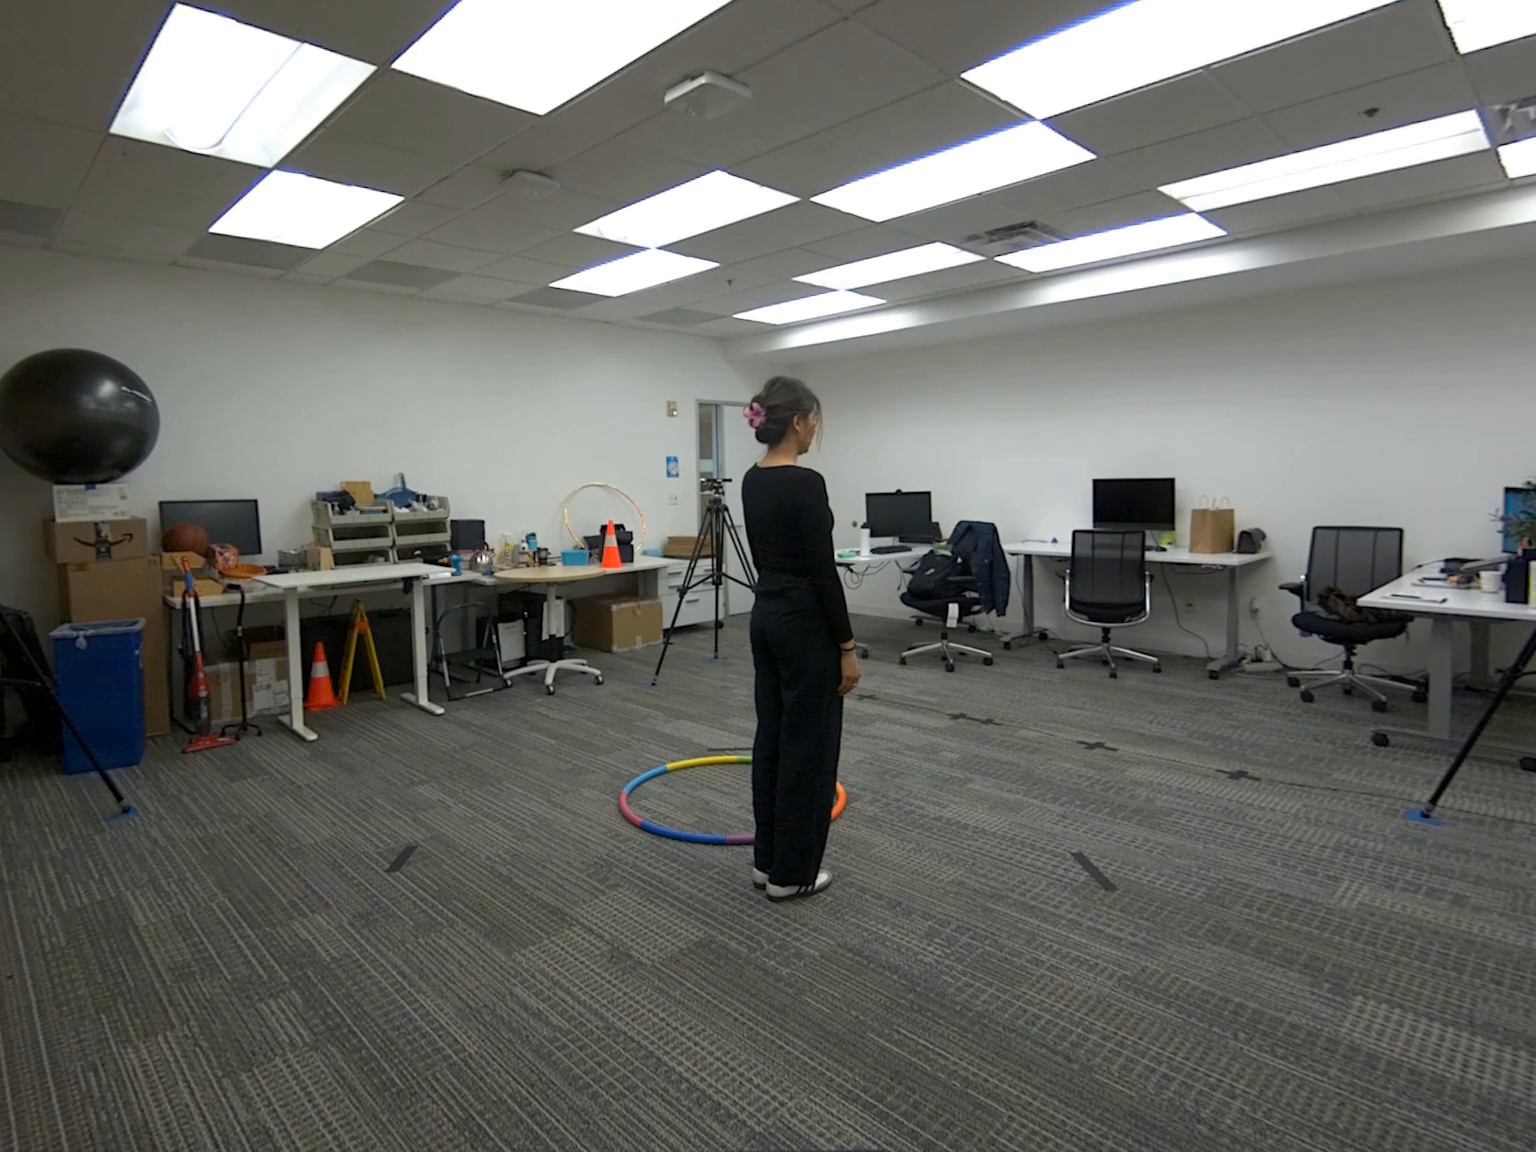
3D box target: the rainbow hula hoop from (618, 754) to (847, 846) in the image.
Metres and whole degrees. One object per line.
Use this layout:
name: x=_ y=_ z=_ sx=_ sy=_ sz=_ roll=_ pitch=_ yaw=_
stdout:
rainbow hula hoop: x=-0.159 y=0.949 z=3.742 sx=0.985 sy=0.051 sz=0.991 roll=-2 pitch=7 yaw=-2
